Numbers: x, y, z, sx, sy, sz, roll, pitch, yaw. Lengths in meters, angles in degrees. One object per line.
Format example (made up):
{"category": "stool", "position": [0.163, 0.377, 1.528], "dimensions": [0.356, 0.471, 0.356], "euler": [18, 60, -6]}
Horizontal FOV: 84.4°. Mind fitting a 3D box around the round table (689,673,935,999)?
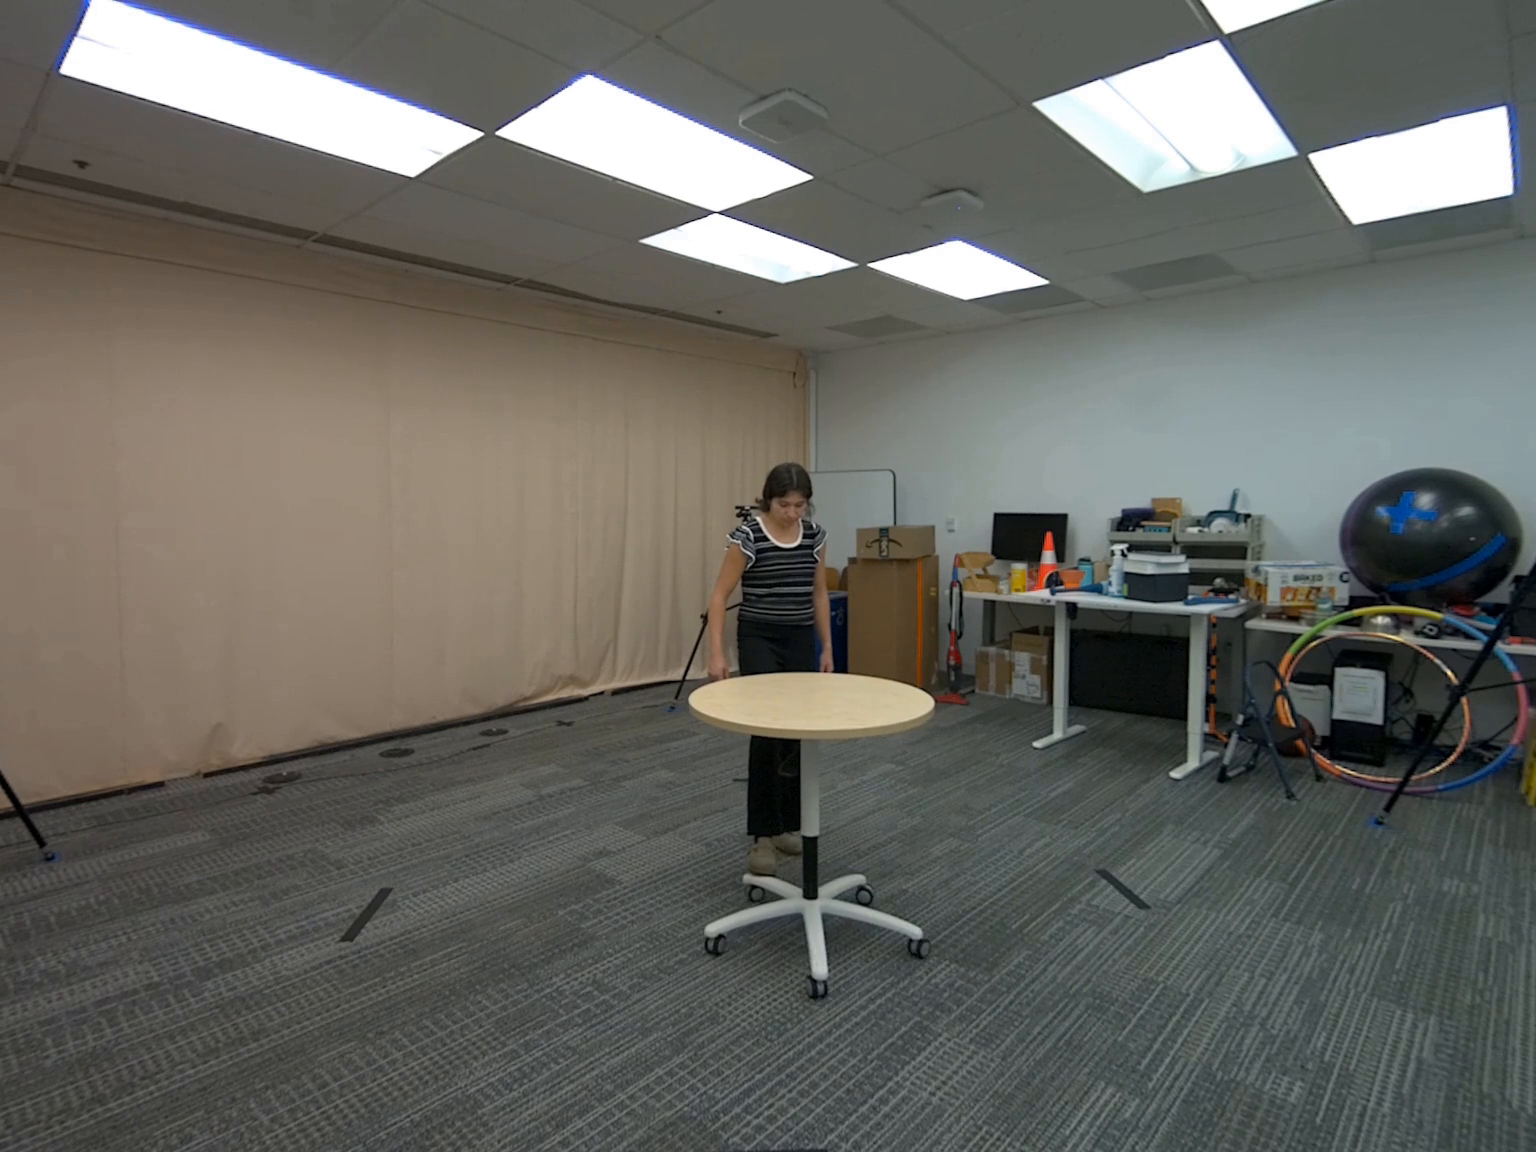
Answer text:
{"category": "round table", "position": [0.154, 0.769, 2.691], "dimensions": [0.784, 0.784, 0.788], "euler": [-1, 4, -2]}
